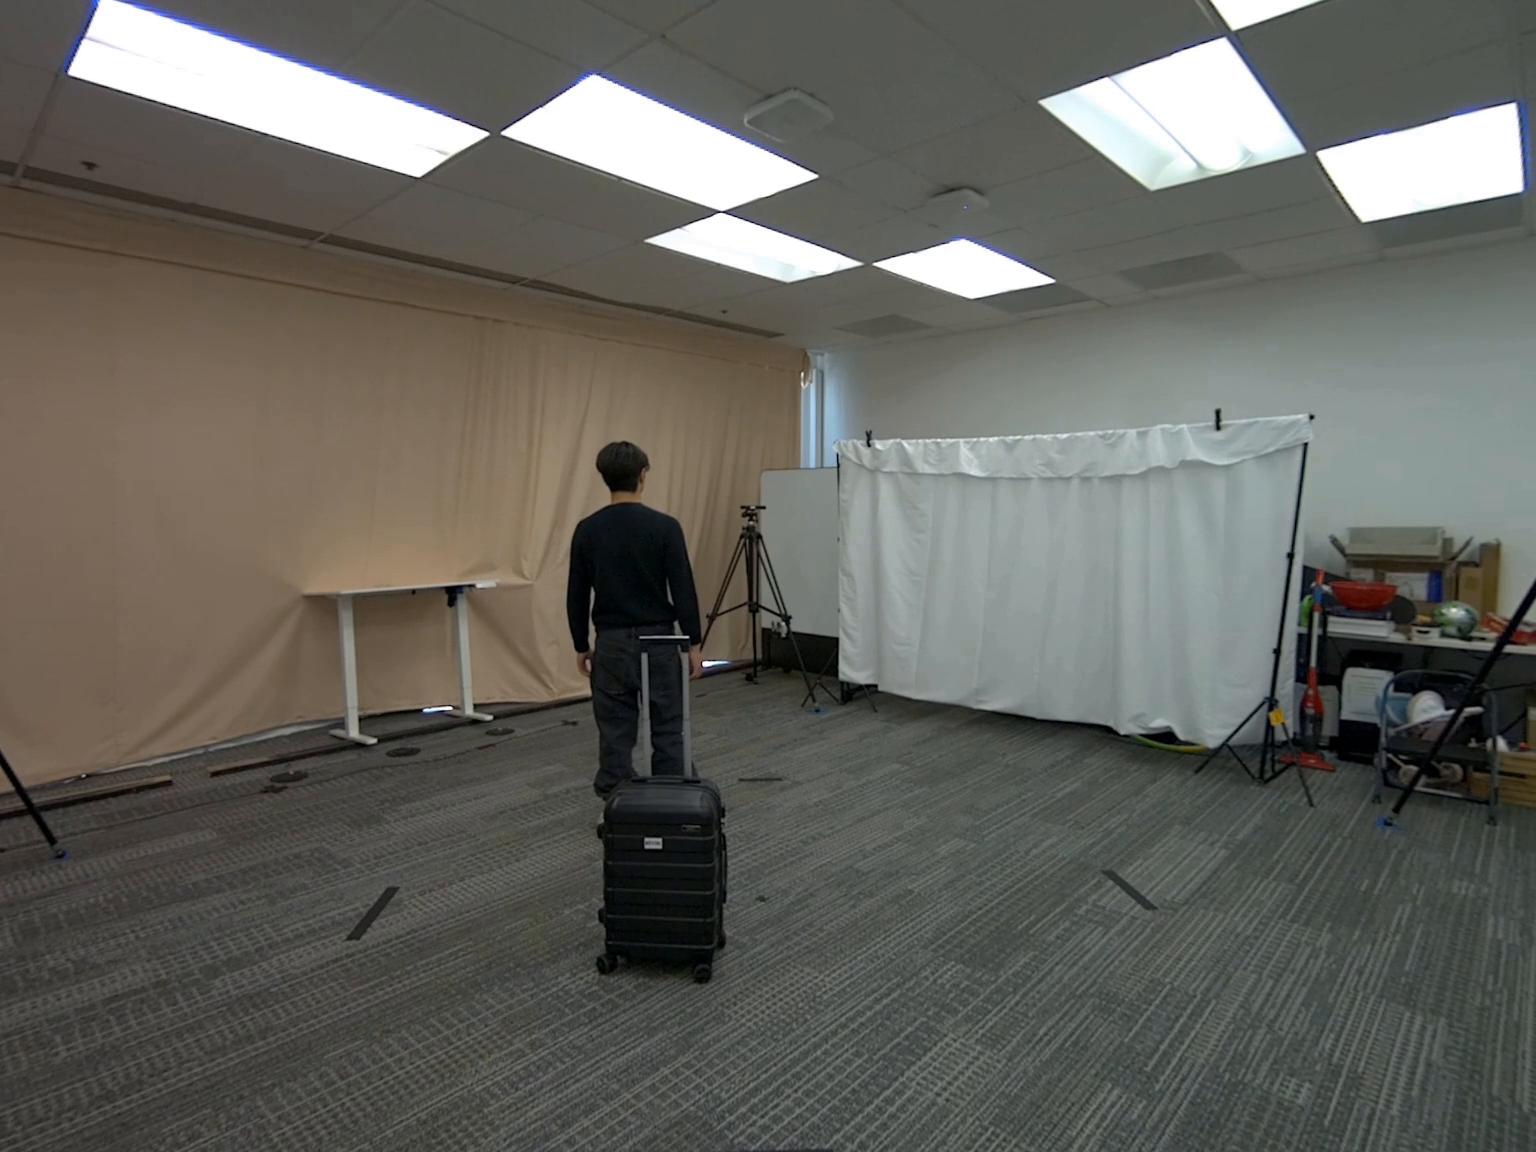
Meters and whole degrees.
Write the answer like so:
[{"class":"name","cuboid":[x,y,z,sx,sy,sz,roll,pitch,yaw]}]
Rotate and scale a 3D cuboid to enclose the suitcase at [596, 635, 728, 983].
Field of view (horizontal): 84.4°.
[{"class":"suitcase","cuboid":[-0.318,0.701,2.566,0.386,0.976,0.256,0,4,5]}]
